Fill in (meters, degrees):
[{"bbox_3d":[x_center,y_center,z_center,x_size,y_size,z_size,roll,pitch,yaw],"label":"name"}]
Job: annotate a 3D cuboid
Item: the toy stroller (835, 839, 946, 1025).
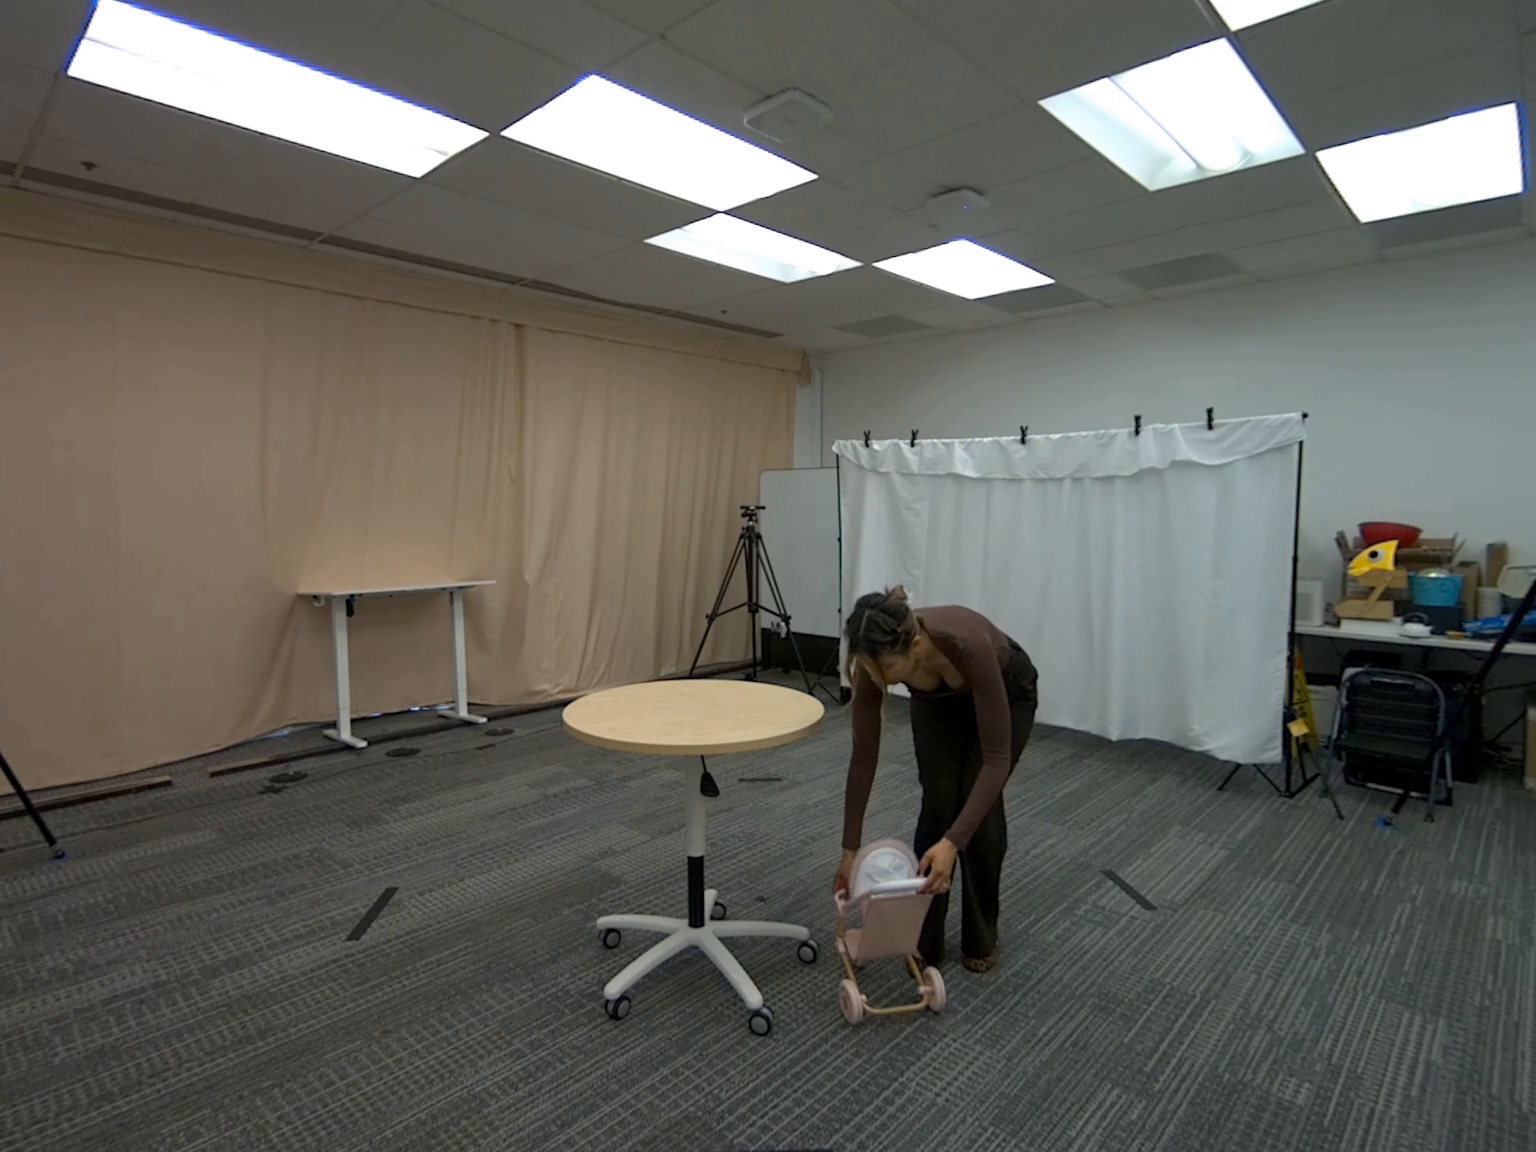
[{"bbox_3d":[0.325,0.963,2.360,0.279,0.530,0.348,0,18,-10],"label":"toy stroller"}]
